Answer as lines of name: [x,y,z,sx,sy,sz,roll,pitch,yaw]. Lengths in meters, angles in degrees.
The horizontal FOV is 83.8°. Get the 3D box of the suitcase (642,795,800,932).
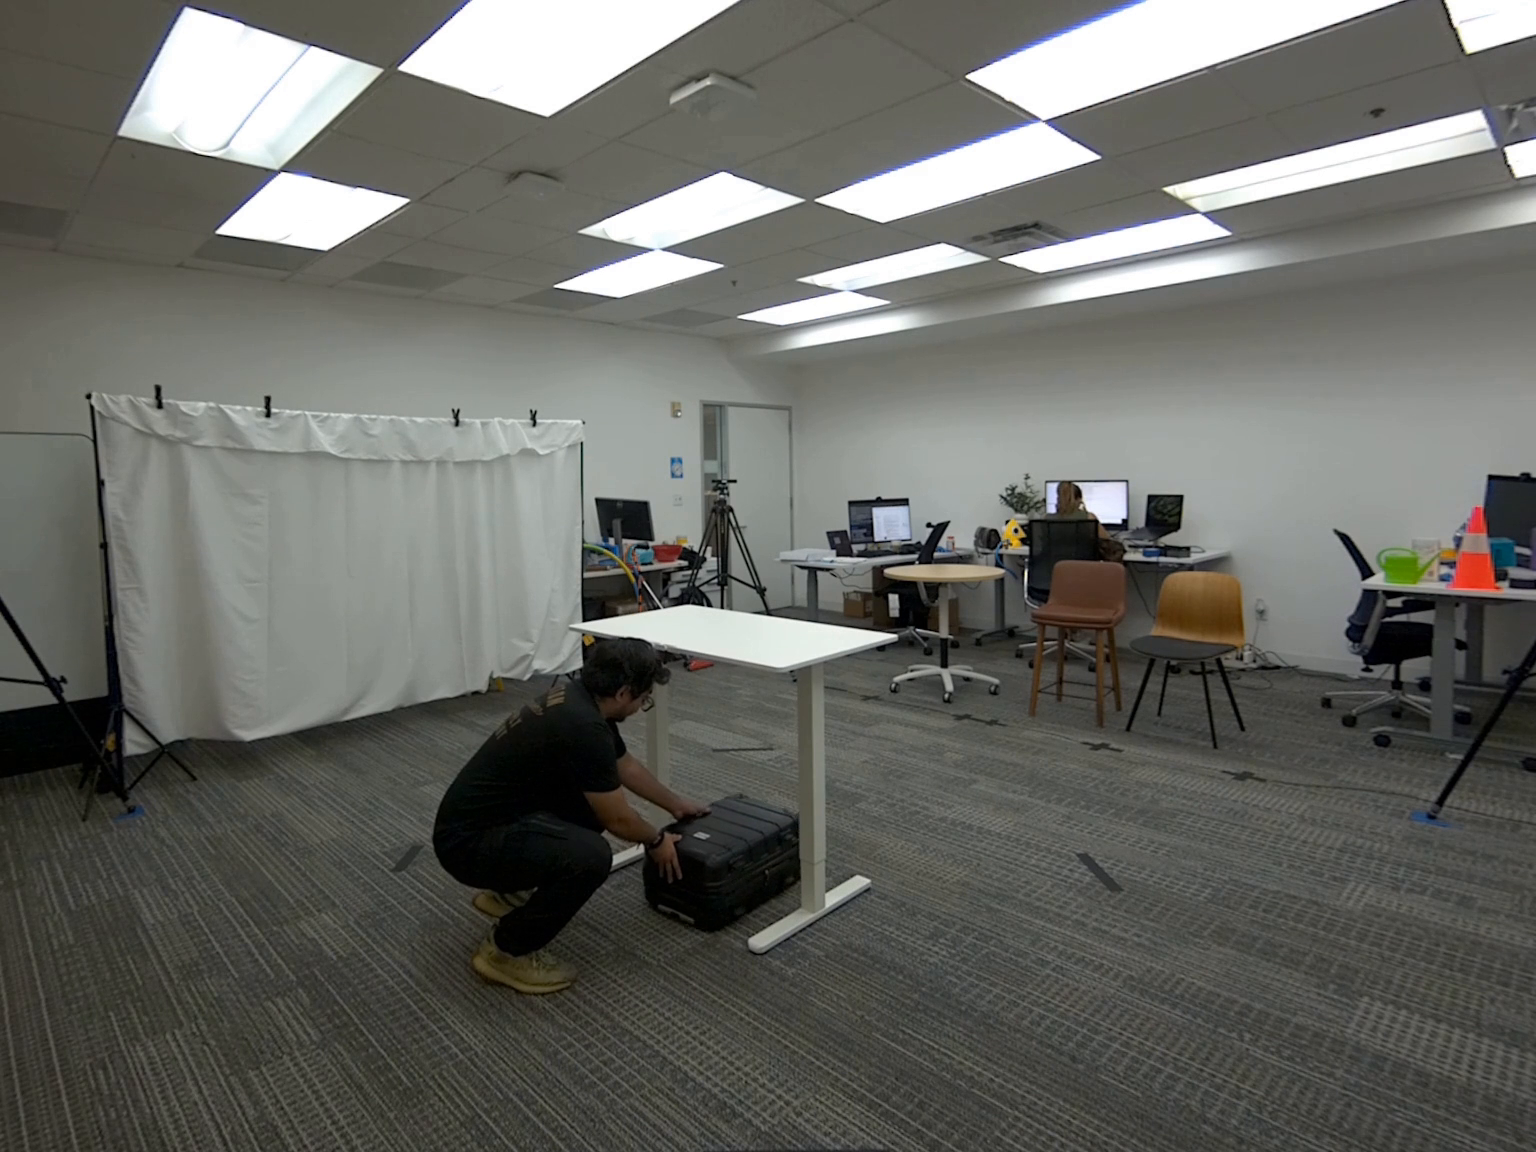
suitcase: [-0.142,0.954,2.899,0.387,0.247,0.535,4,8,39]
